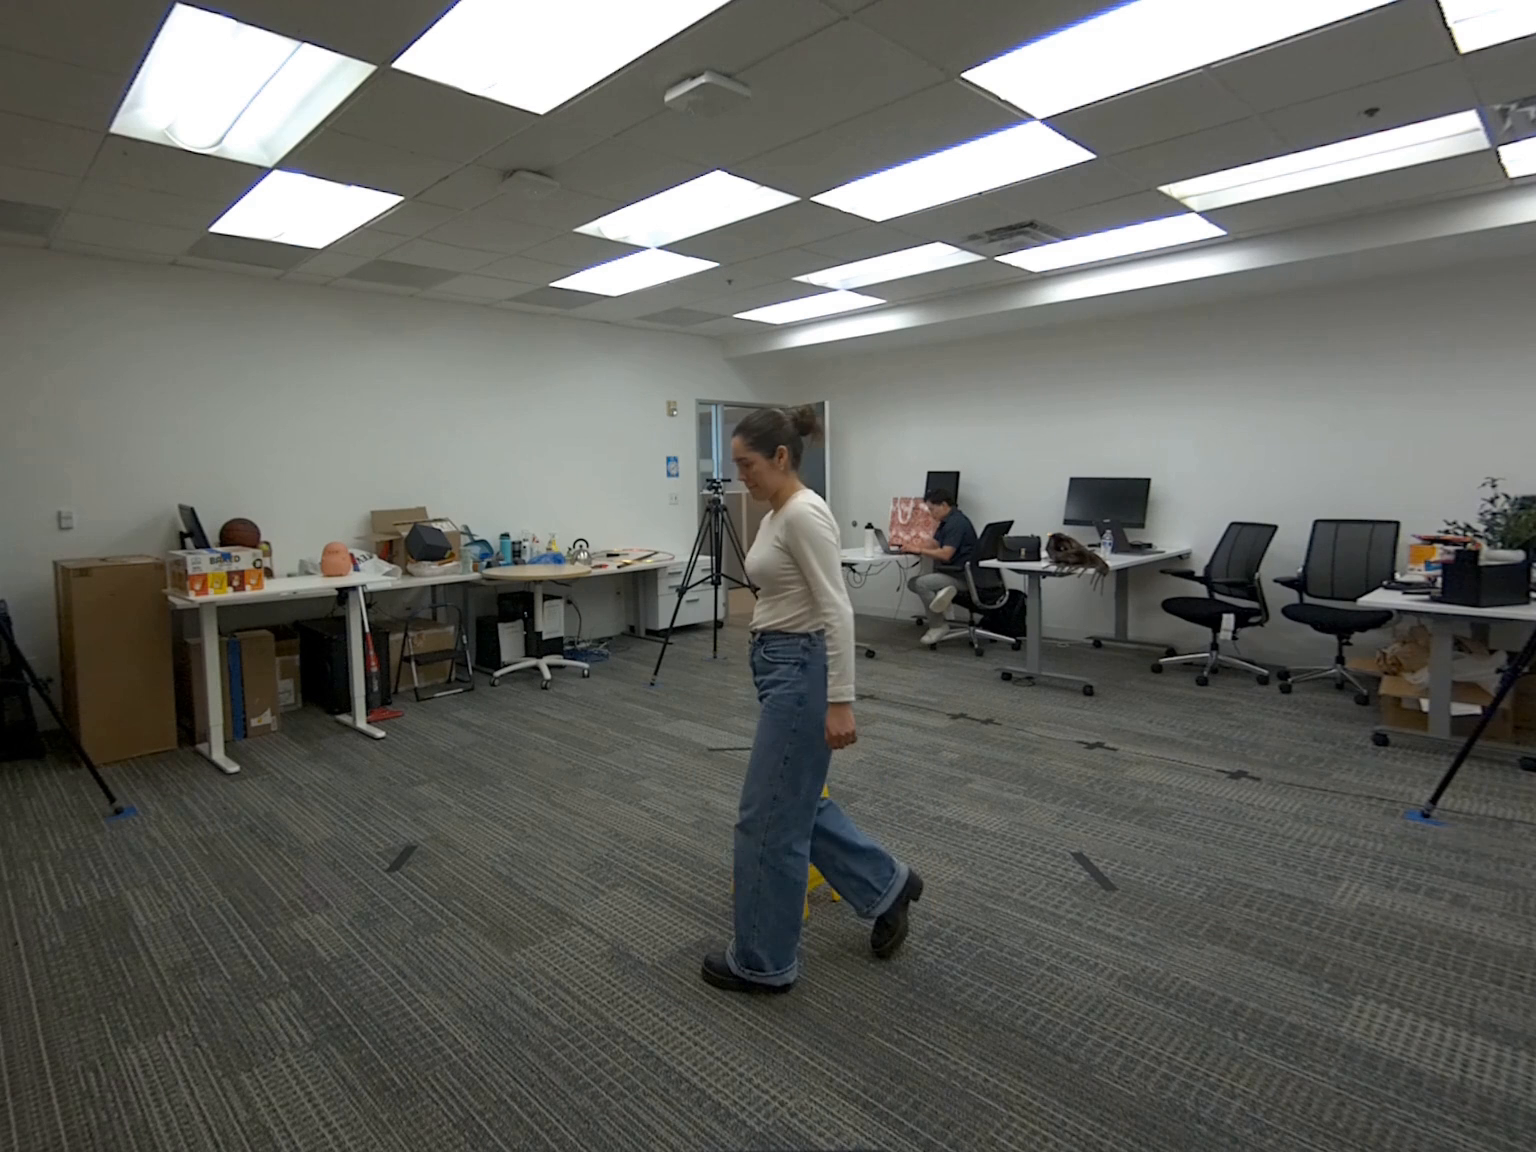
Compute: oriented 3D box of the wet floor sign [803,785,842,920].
[{"bbox_3d":[0.076,0.749,2.847,0.299,0.643,0.275,4,6,45],"label":"wet floor sign"}]
